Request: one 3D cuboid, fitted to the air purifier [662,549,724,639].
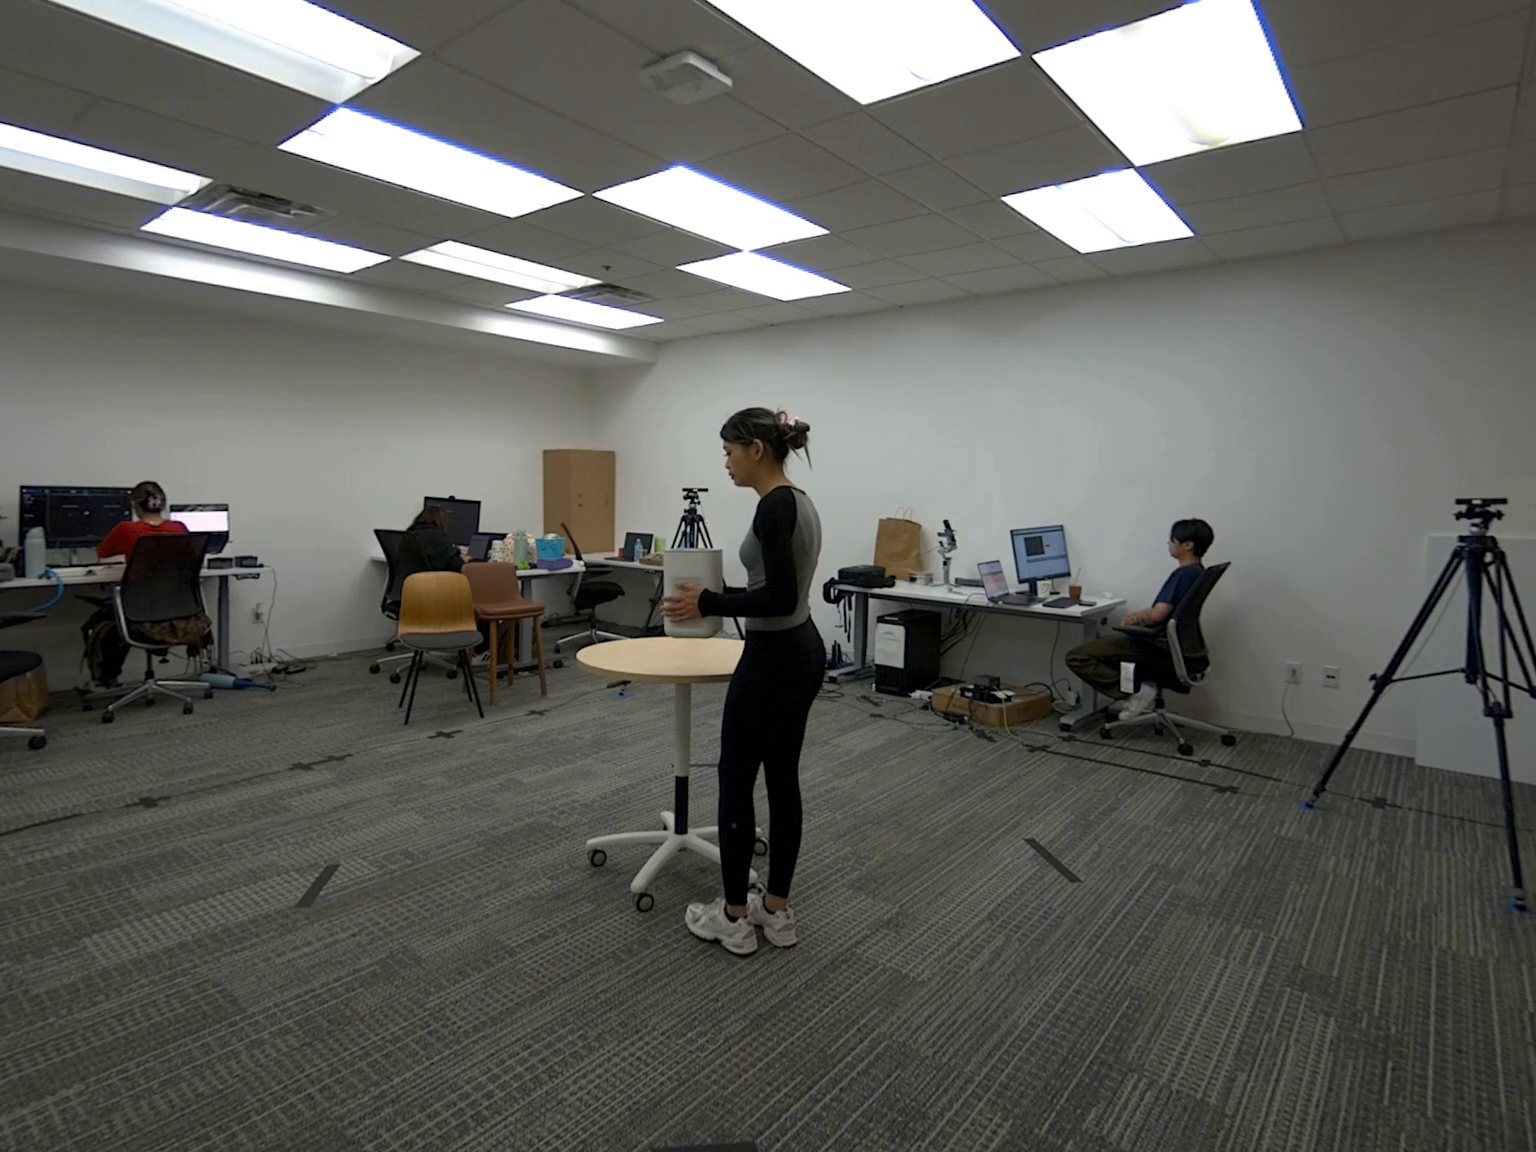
[{"bbox_3d":[-0.233,0.047,2.601,0.173,0.265,0.170,0,2,6],"label":"air purifier"}]
